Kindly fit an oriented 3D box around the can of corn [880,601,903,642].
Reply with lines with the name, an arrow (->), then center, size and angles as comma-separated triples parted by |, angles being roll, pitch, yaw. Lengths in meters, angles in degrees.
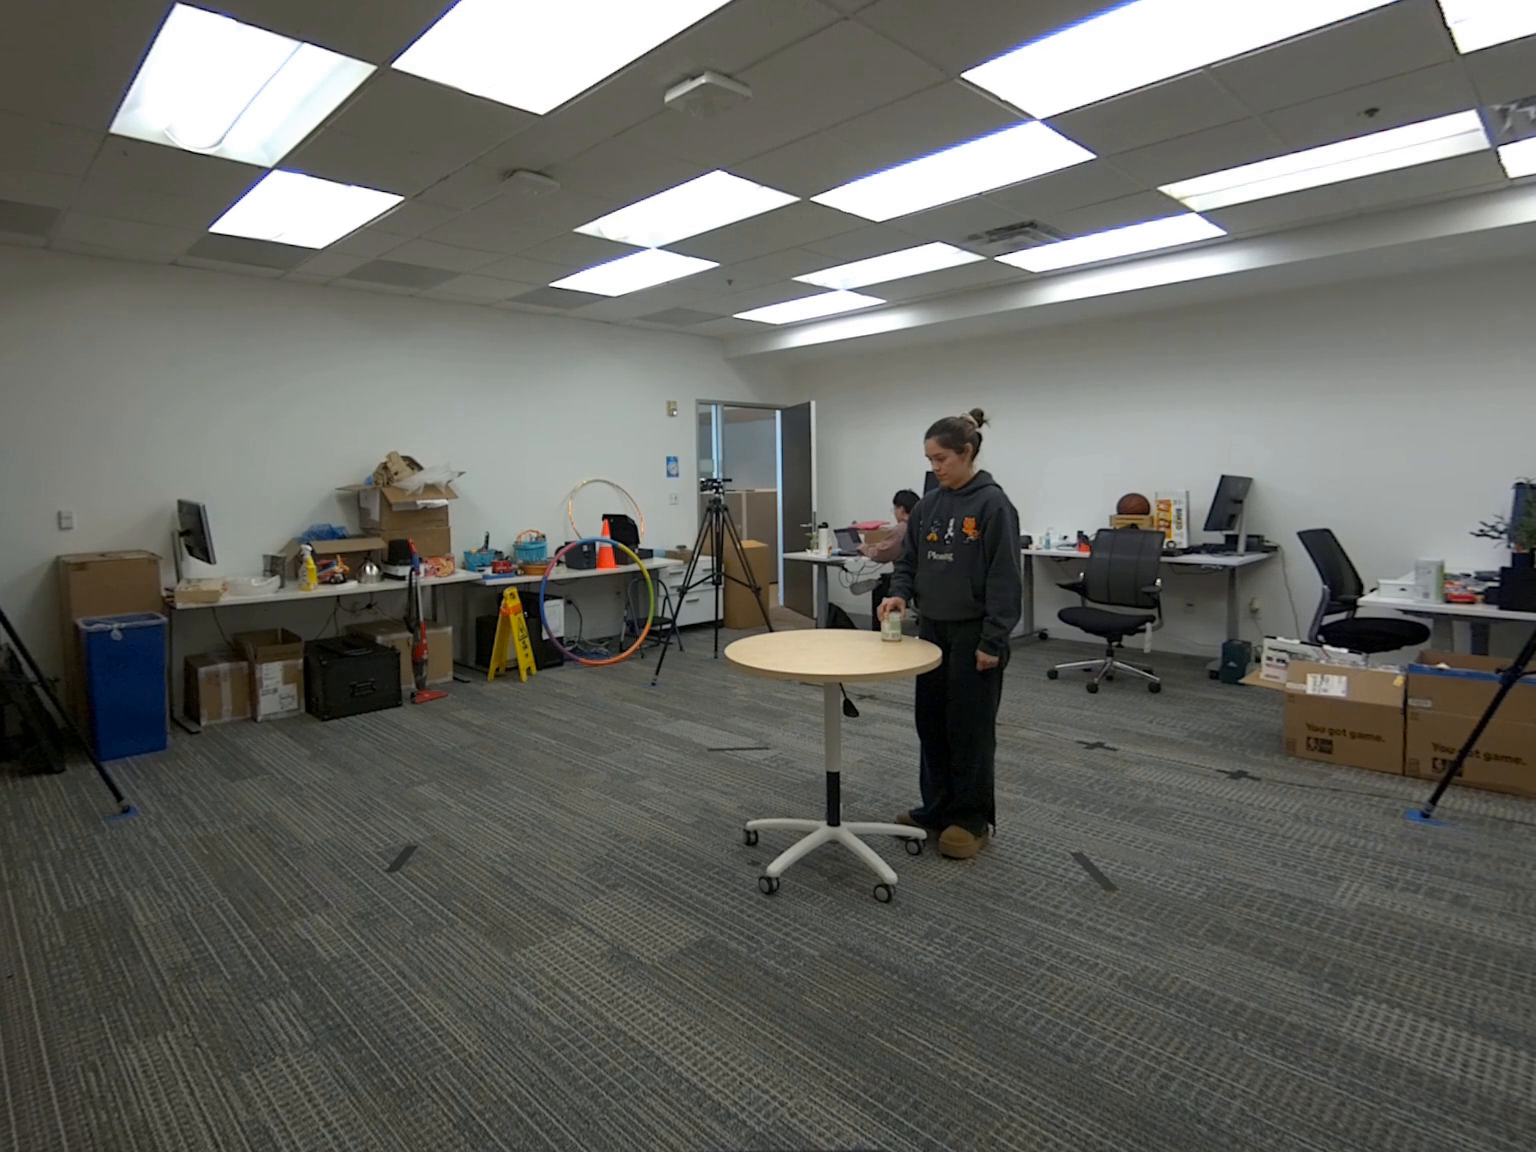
can of corn -> 0.464, 0.185, 3.188 | 0.074, 0.111, 0.074 | 0, 2, -2
